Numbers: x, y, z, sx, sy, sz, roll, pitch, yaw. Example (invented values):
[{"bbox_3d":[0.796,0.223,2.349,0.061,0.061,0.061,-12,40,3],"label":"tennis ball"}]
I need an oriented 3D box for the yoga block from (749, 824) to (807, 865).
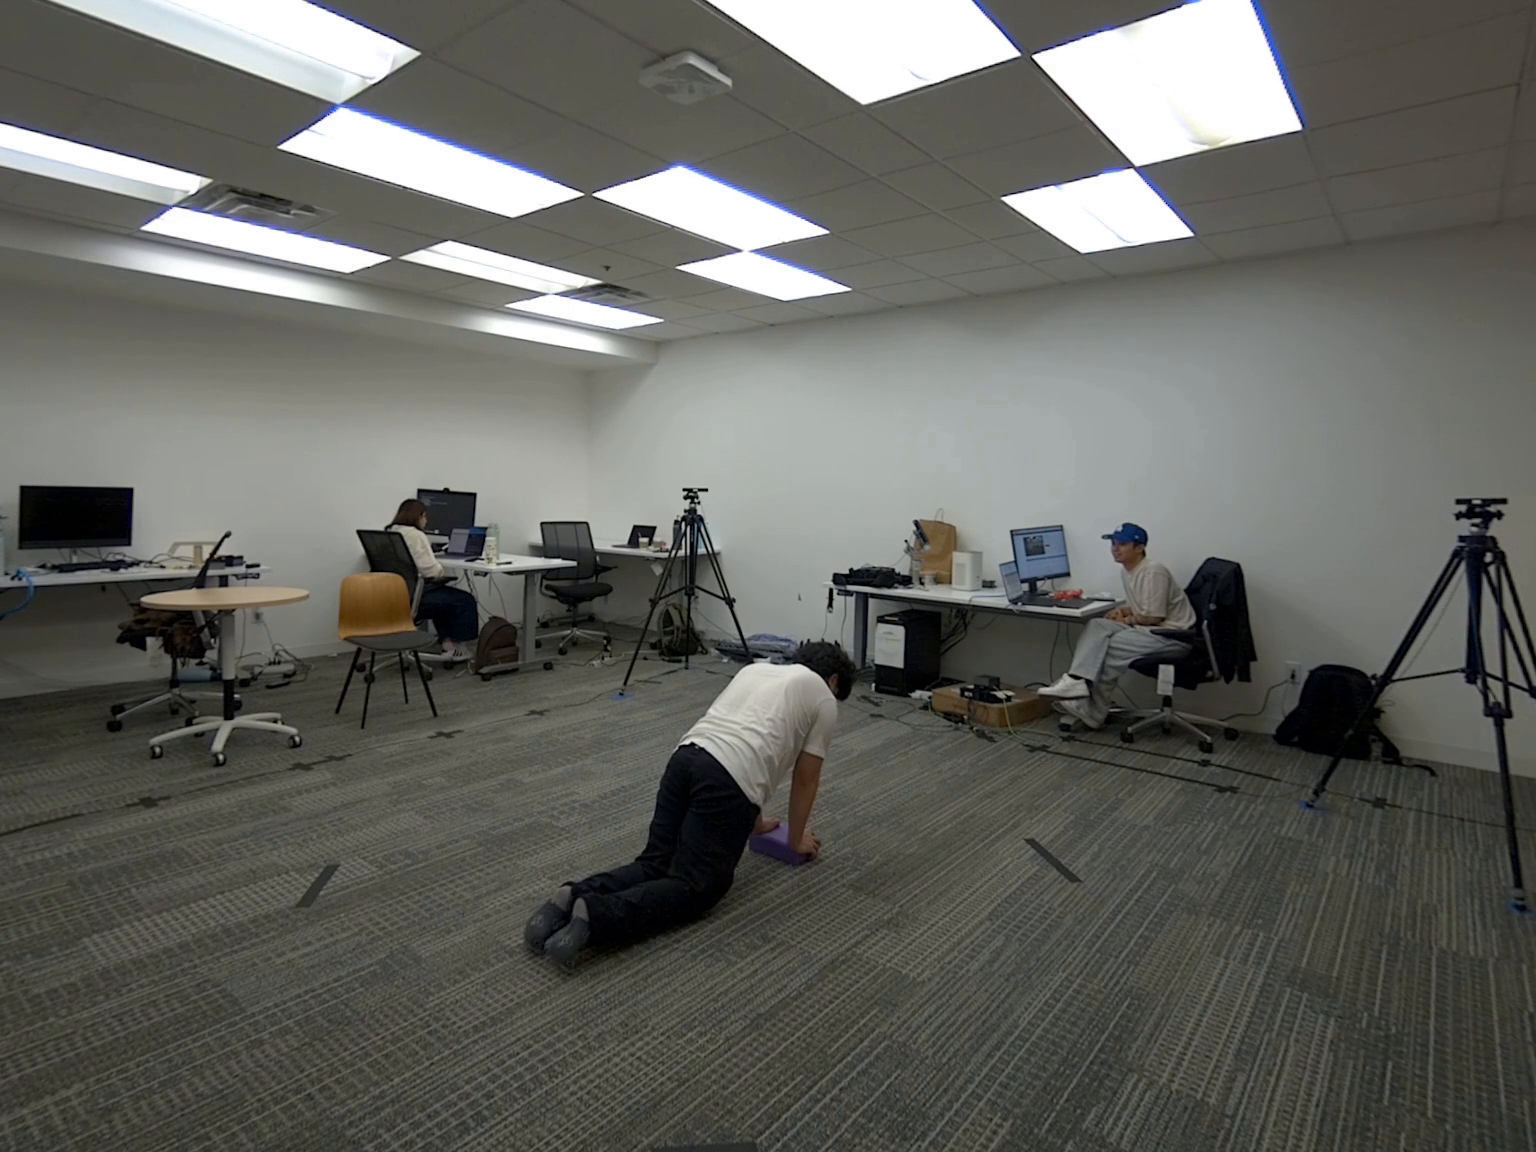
[{"bbox_3d":[0.049,1.026,3.277,0.237,0.076,0.145,6,8,39],"label":"yoga block"}]
